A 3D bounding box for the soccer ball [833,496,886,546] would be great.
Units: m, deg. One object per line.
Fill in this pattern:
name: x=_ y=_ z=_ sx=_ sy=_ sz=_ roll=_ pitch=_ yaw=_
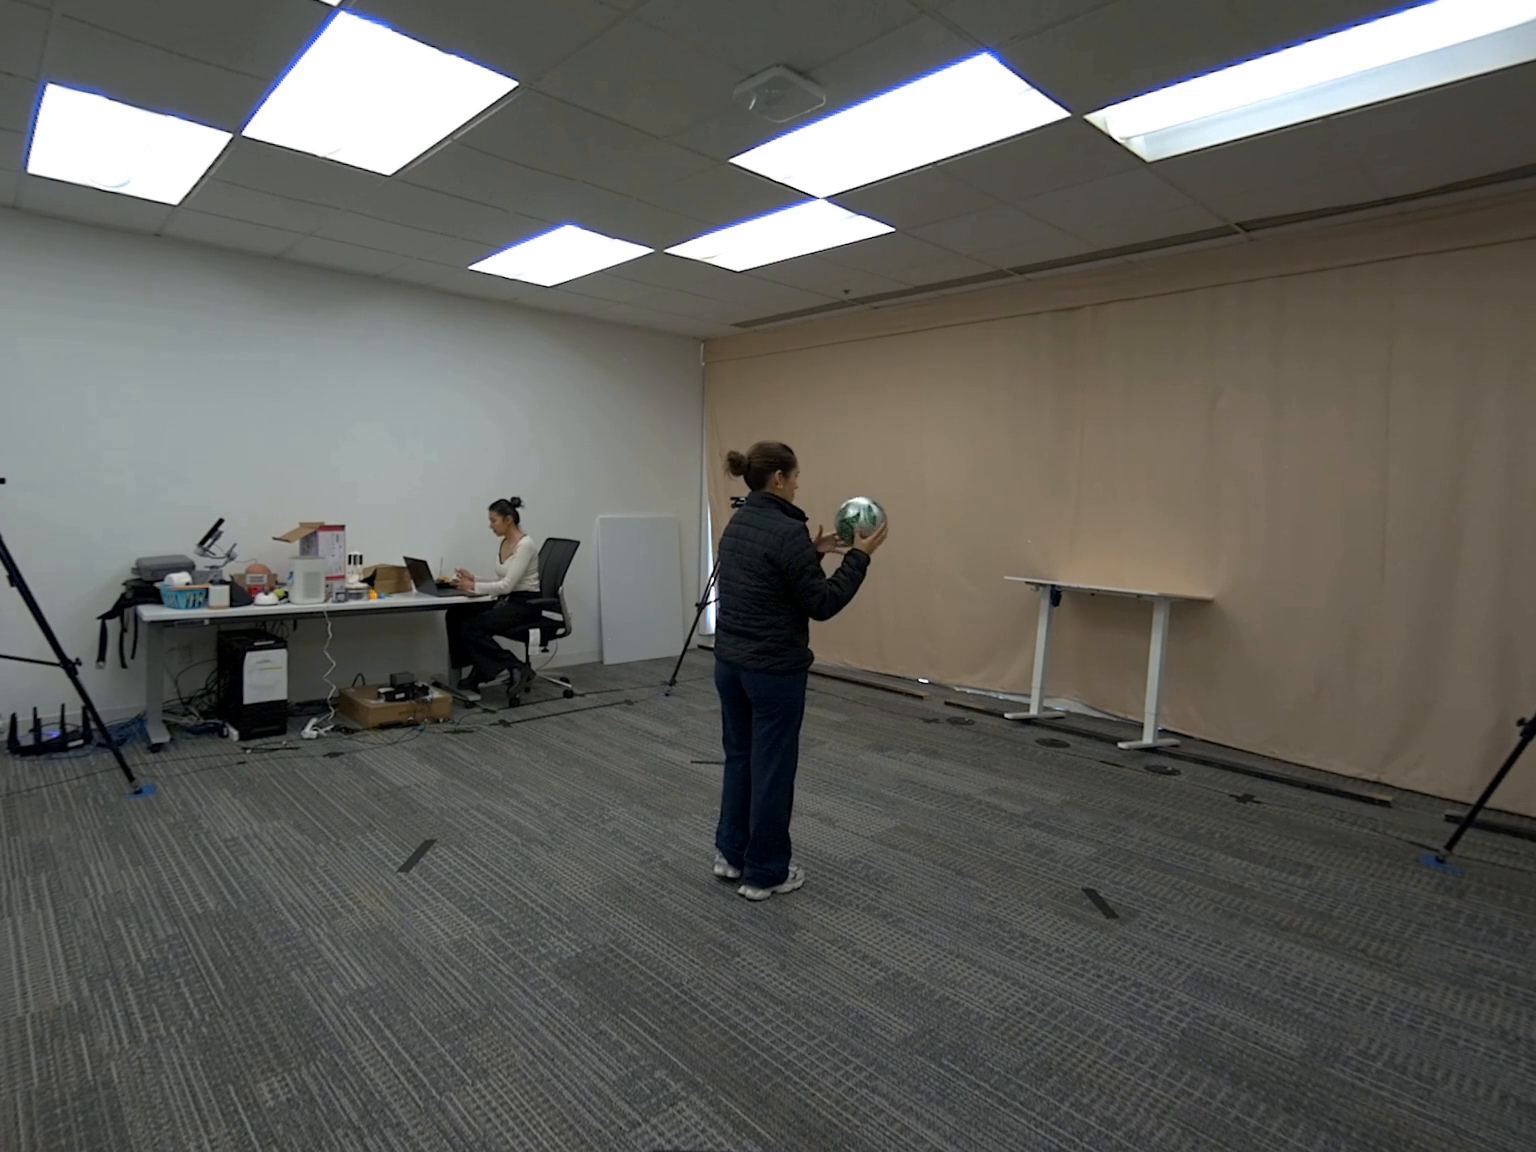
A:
soccer ball: x=0.312 y=-0.183 z=2.999 sx=0.187 sy=0.187 sz=0.188 roll=1 pitch=4 yaw=-1
